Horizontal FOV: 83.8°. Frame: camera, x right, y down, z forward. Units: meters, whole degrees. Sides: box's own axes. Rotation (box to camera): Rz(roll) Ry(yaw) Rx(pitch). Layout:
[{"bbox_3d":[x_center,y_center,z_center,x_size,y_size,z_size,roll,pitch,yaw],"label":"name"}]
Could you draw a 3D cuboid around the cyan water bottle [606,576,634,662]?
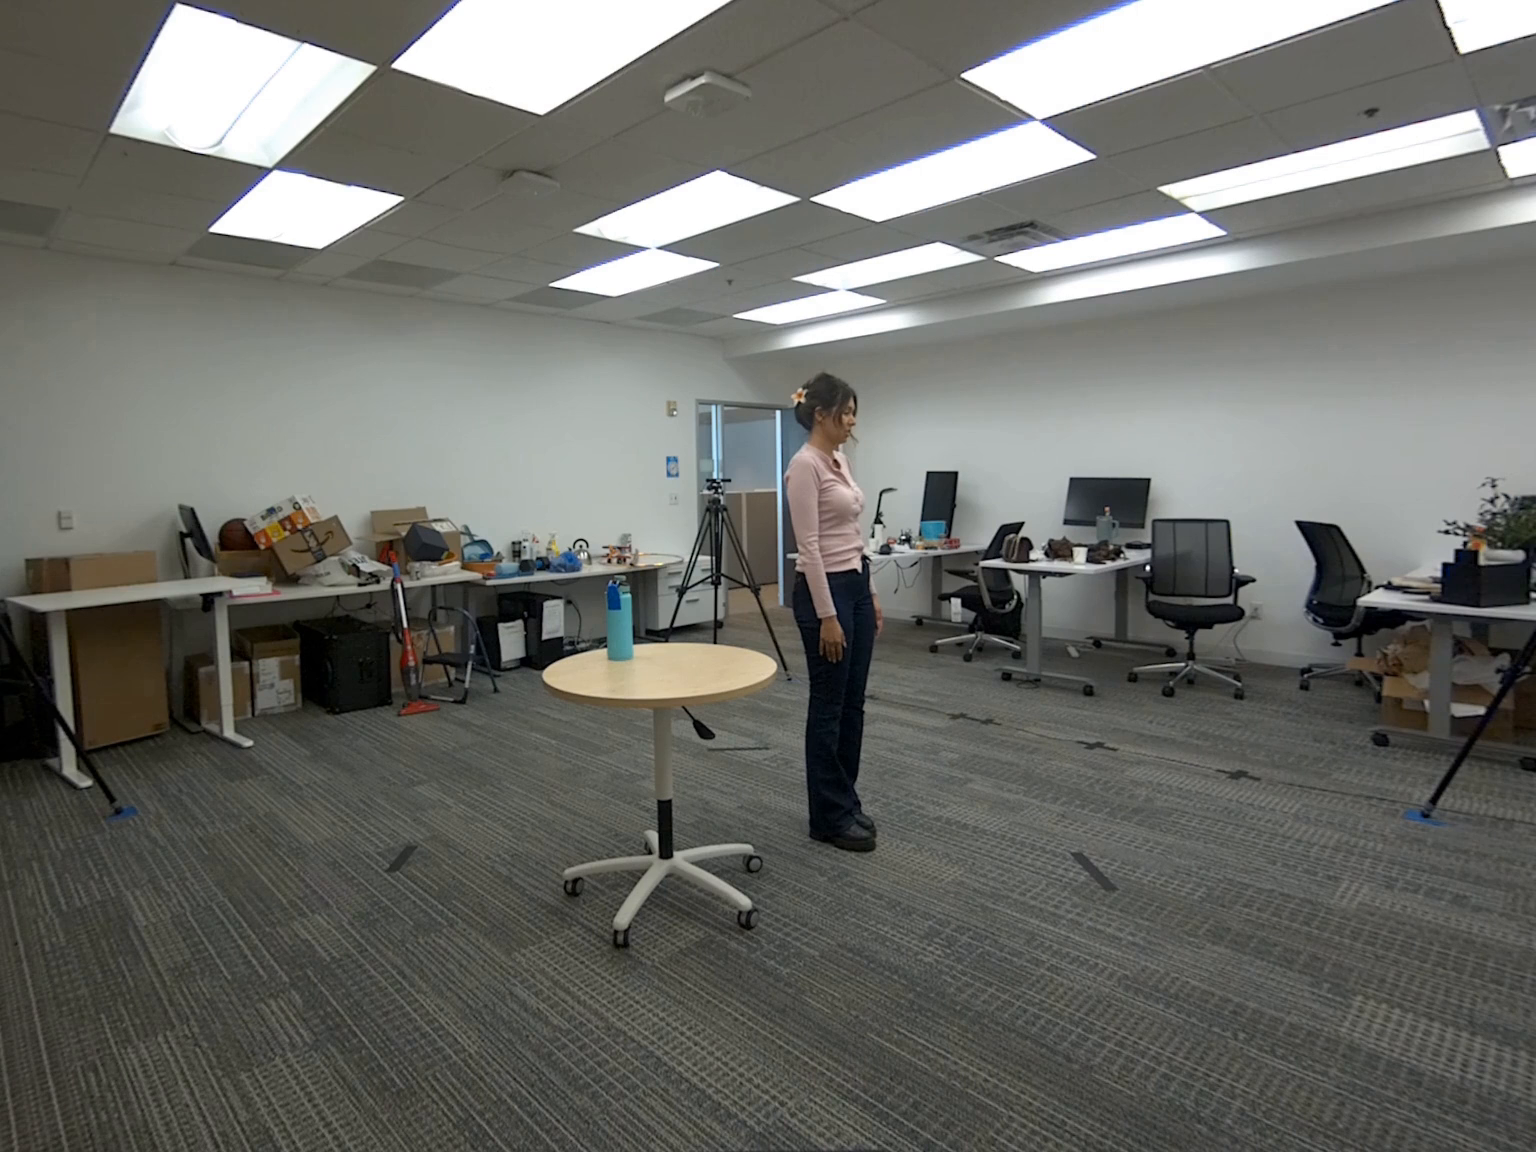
[{"bbox_3d":[-0.515,0.147,2.944,0.092,0.282,0.093,-1,4,-2],"label":"cyan water bottle"}]
